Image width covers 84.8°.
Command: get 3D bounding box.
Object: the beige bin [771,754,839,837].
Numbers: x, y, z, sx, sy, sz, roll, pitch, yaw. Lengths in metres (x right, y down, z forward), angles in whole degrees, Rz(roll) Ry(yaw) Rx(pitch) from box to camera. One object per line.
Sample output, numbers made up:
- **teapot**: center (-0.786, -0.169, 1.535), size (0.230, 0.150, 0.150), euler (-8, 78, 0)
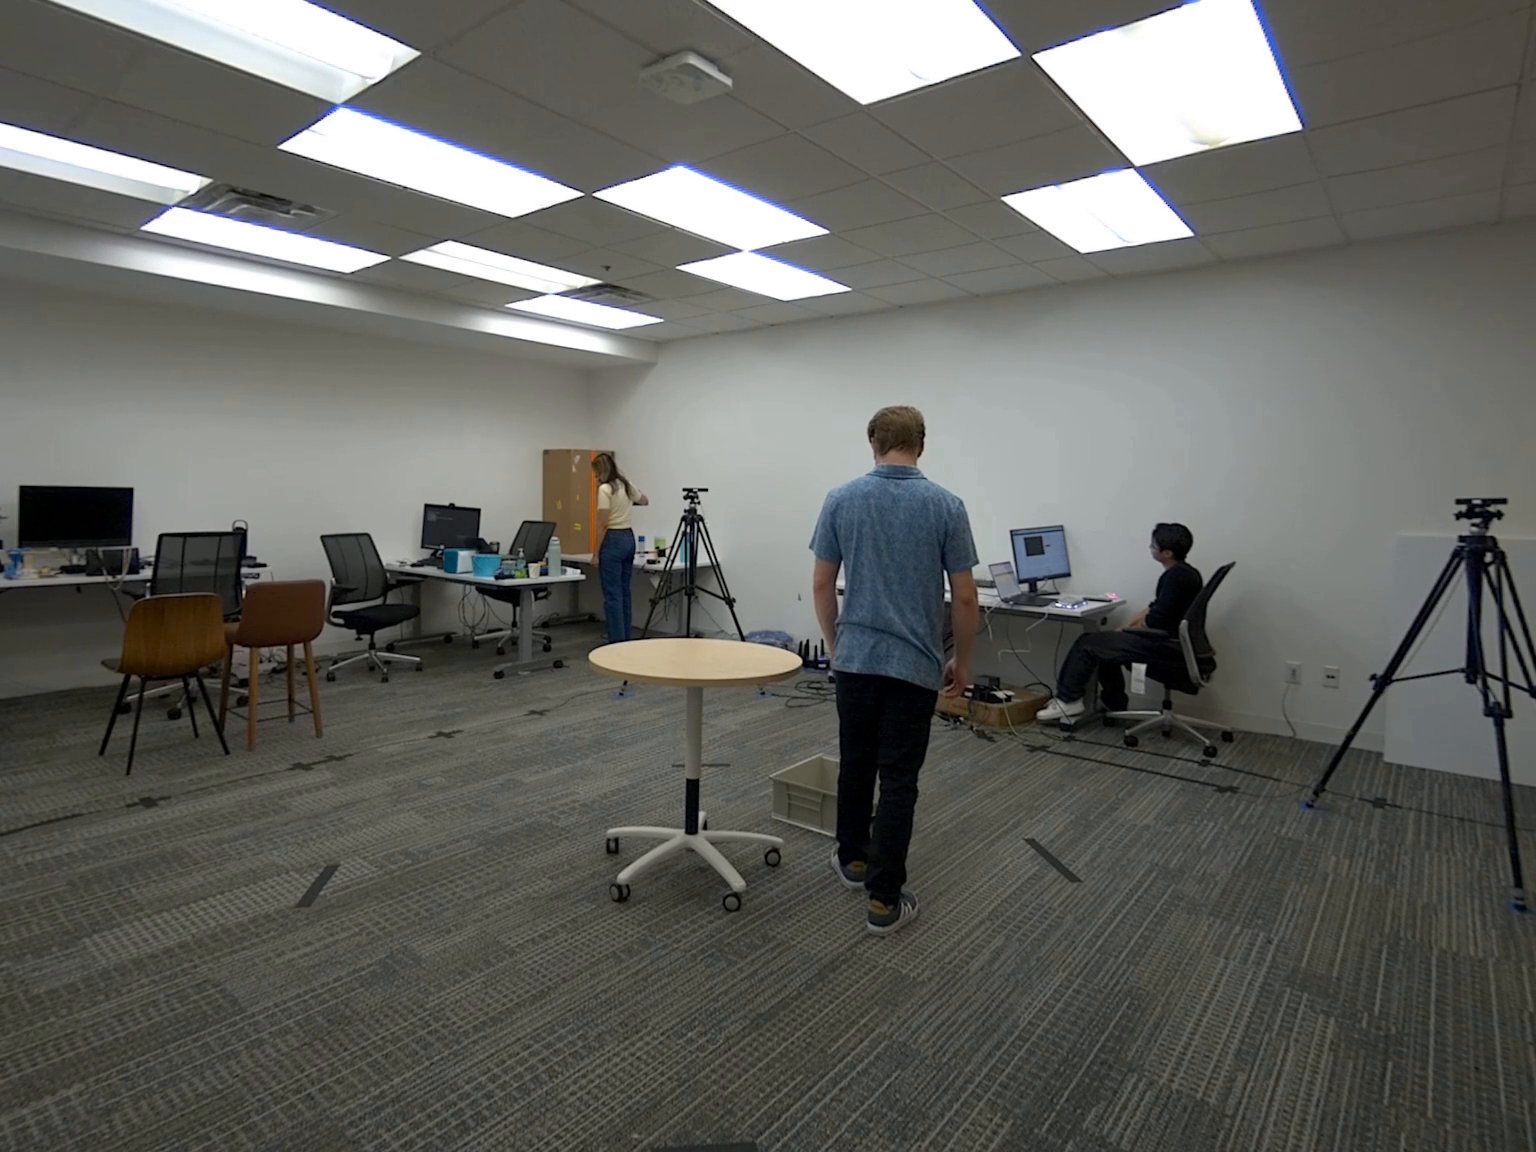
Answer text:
- **beige bin**: center (0.266, 0.938, 3.662), size (0.389, 0.188, 0.410), euler (4, 7, 36)
